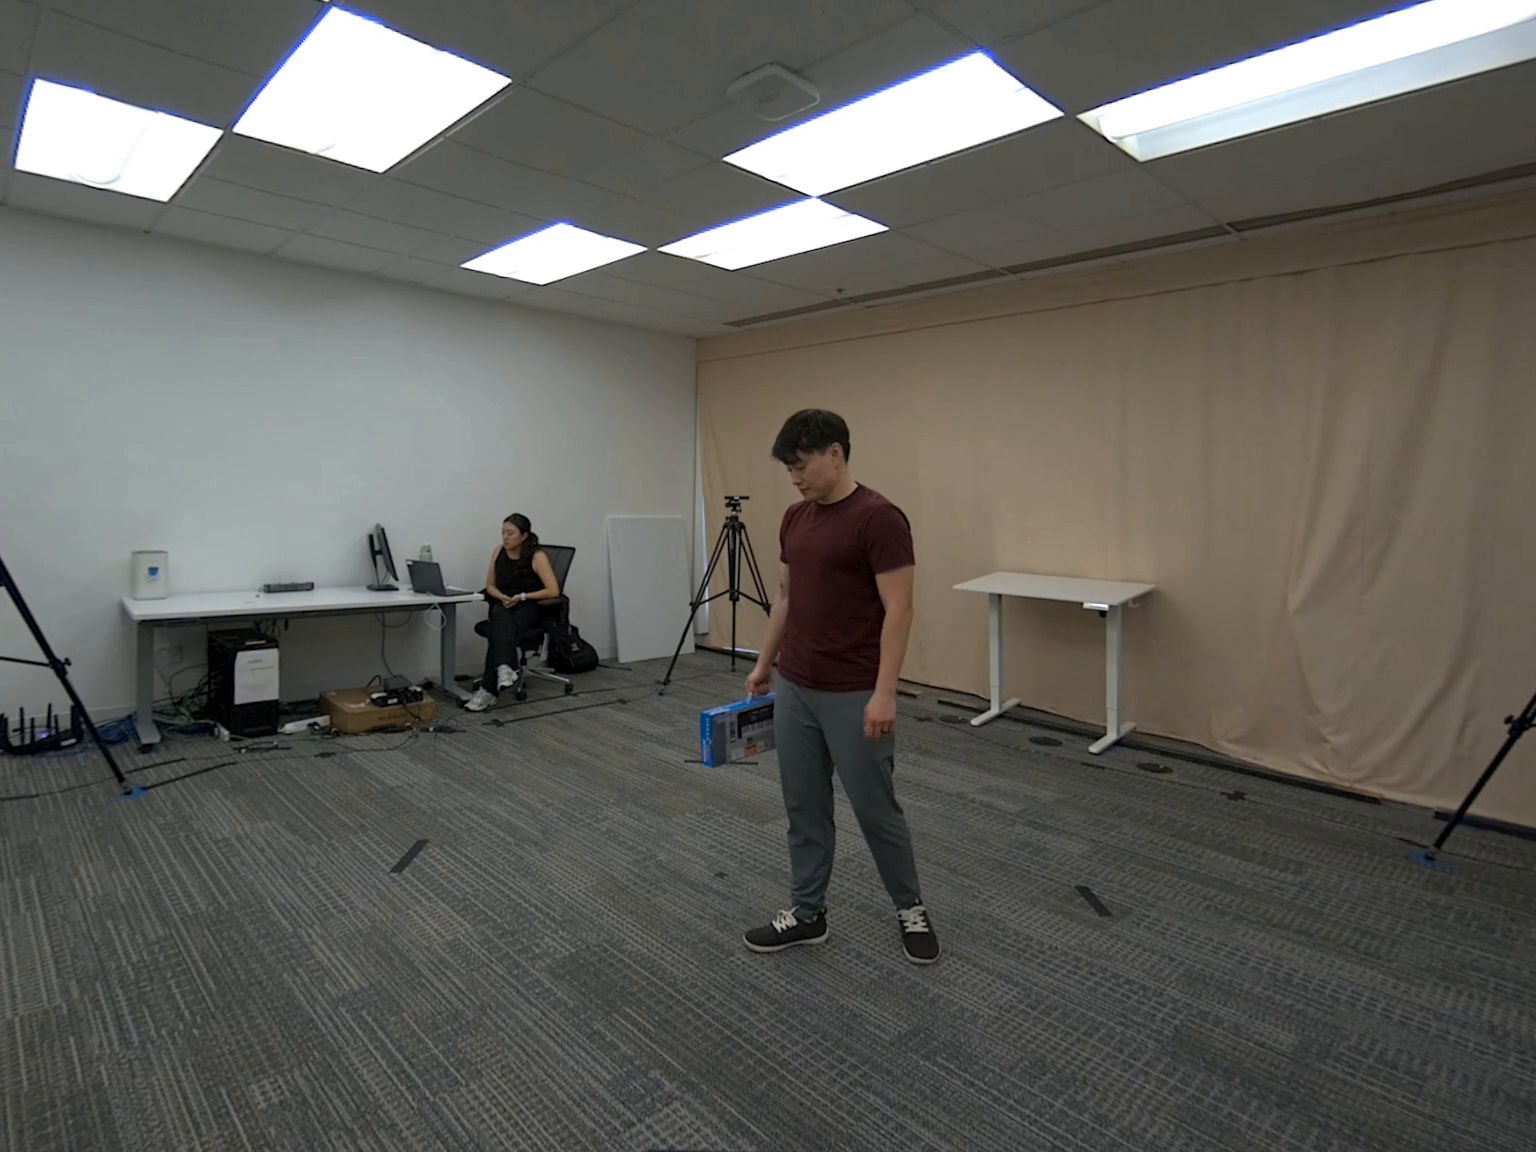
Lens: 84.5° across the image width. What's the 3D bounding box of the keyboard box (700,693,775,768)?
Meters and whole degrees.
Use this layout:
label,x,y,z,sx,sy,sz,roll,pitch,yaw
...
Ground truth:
label,x,y,z,sx,sy,sz,roll,pitch,yaw
keyboard box,-0.028,0.493,2.779,0.428,0.175,0.060,-8,9,-38
